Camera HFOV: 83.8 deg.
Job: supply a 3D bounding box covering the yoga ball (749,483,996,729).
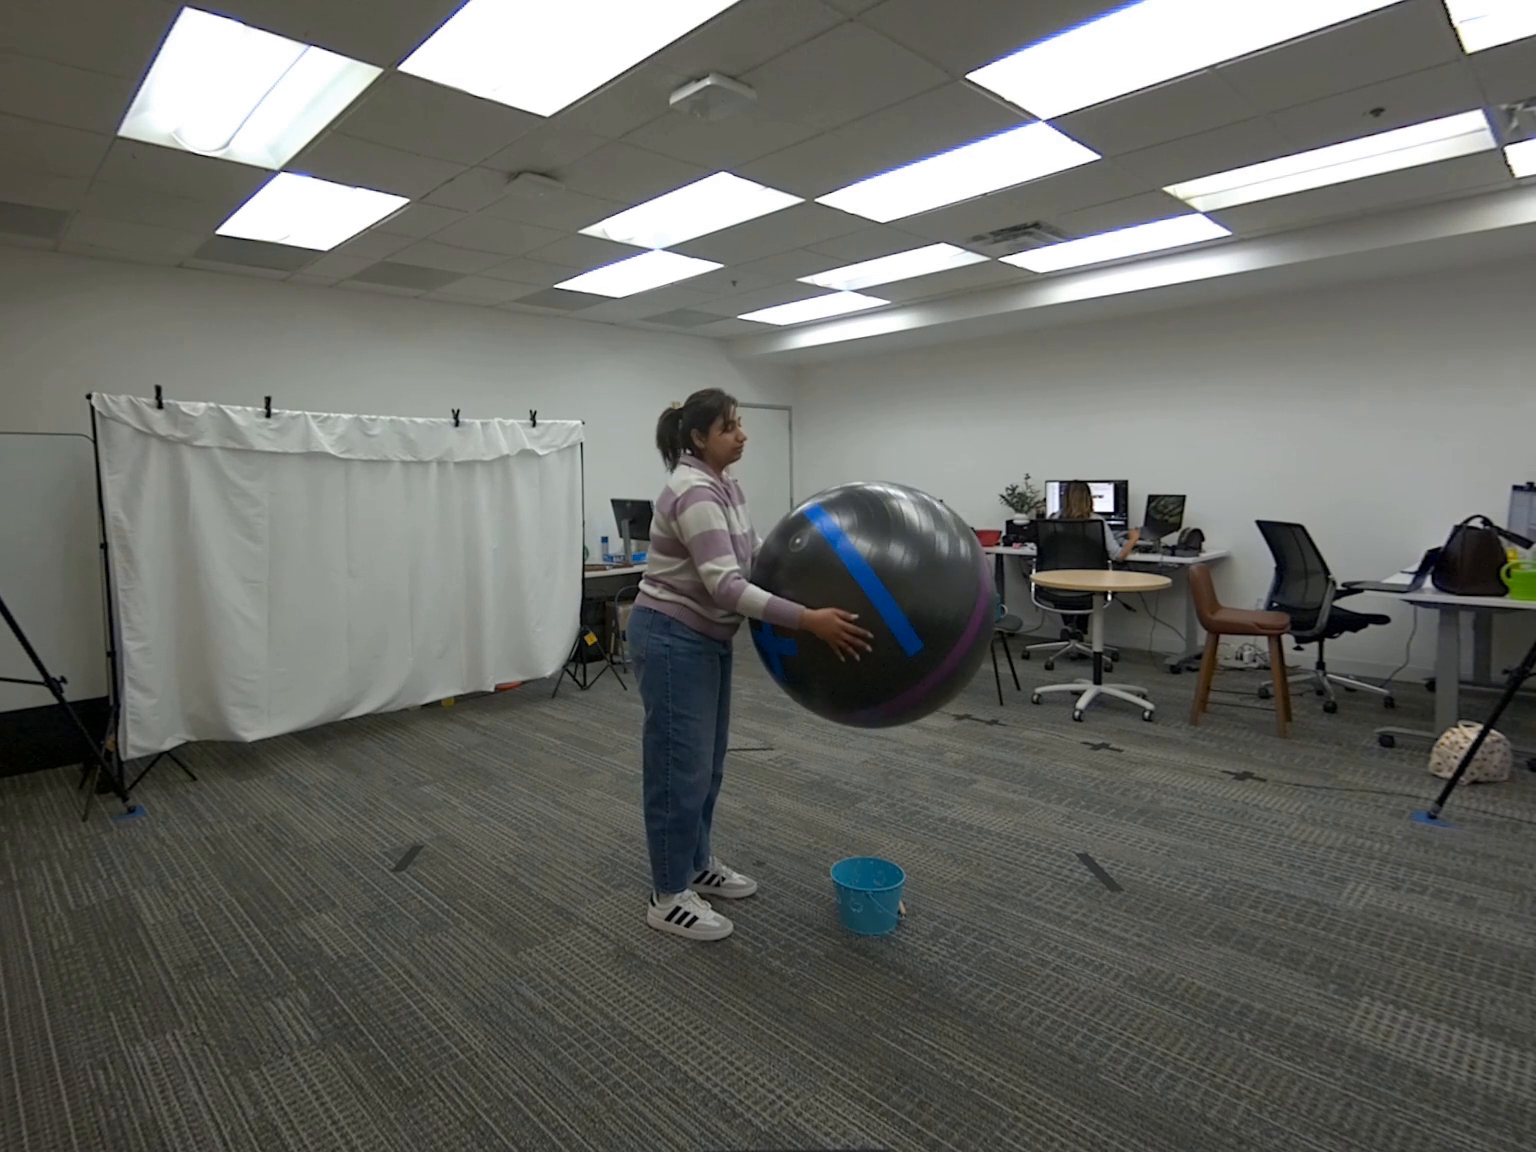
[{"bbox_3d":[0.320,0.094,2.643,0.757,0.755,0.762,-1,5,-2],"label":"yoga ball"}]
